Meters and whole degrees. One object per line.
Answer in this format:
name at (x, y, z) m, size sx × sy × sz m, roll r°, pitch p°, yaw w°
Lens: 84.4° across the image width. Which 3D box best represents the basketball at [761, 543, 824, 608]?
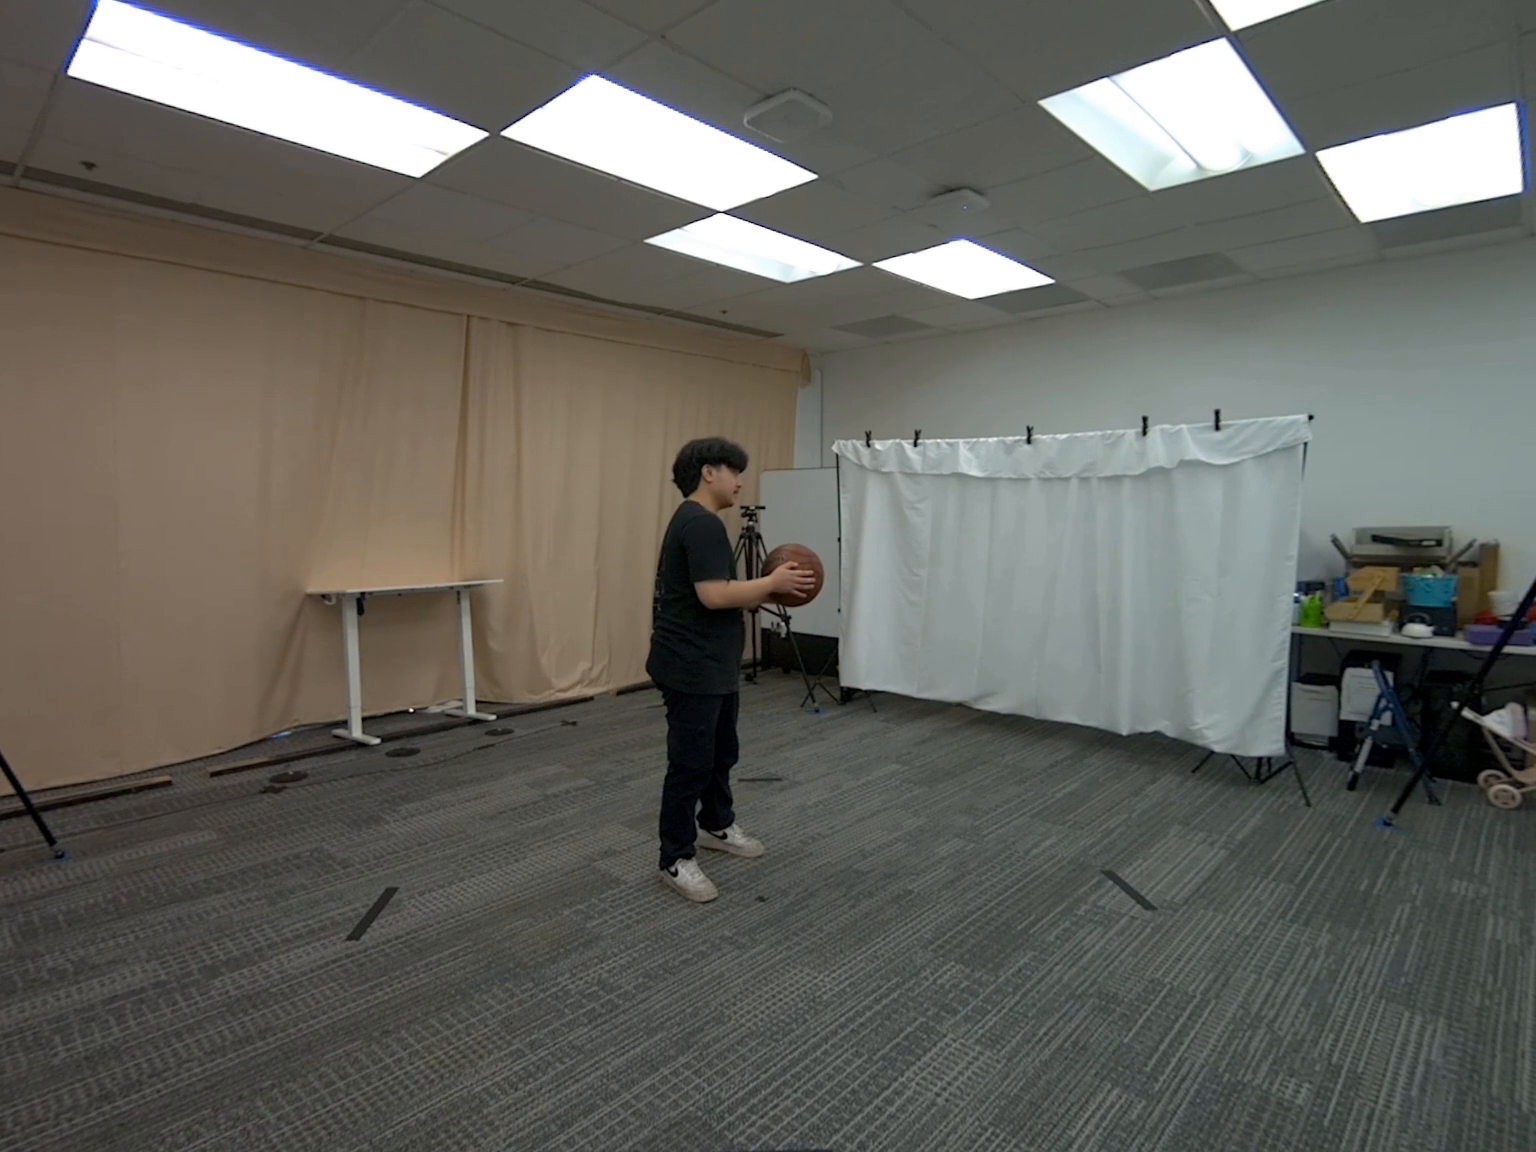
basketball at (0.092, -0.002, 3.150) m, size 0.236 × 0.235 × 0.237 m, roll 0°, pitch 4°, yaw -2°
